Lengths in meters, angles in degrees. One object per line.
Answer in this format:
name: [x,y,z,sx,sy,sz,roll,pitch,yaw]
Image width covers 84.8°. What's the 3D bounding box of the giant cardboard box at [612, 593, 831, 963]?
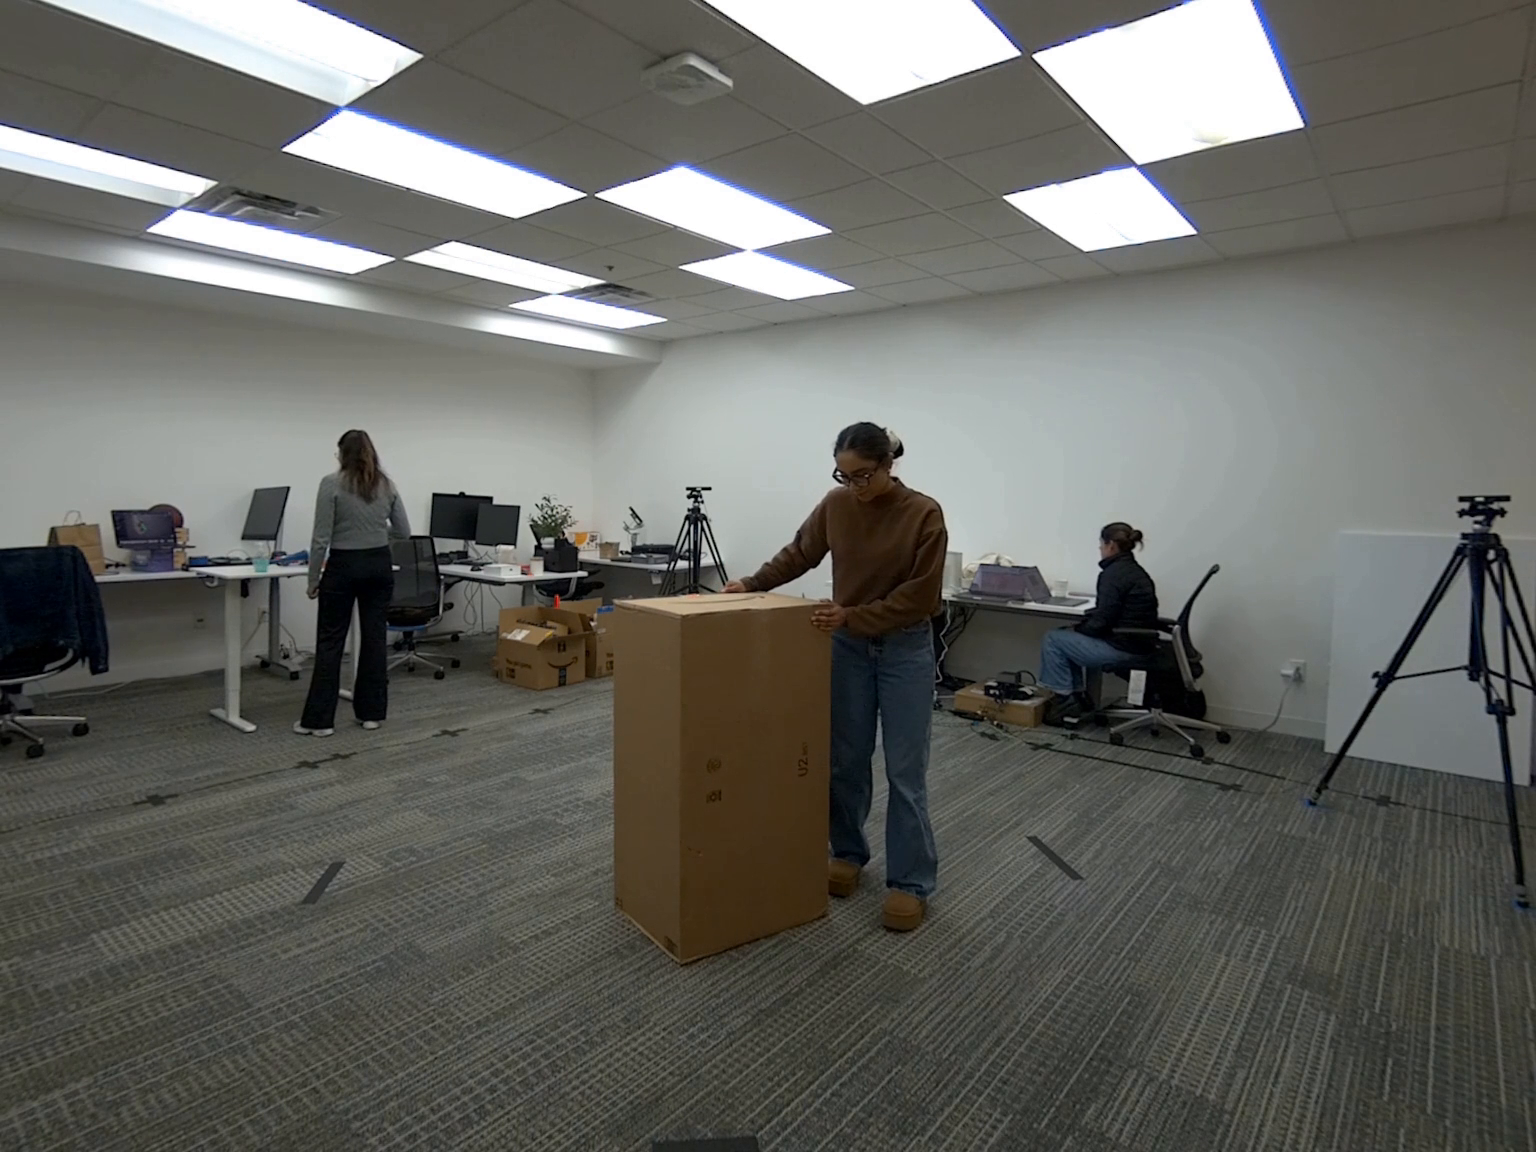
giant cardboard box: [-0.166,0.588,2.772,0.561,1.023,0.440,-2,4,-35]
